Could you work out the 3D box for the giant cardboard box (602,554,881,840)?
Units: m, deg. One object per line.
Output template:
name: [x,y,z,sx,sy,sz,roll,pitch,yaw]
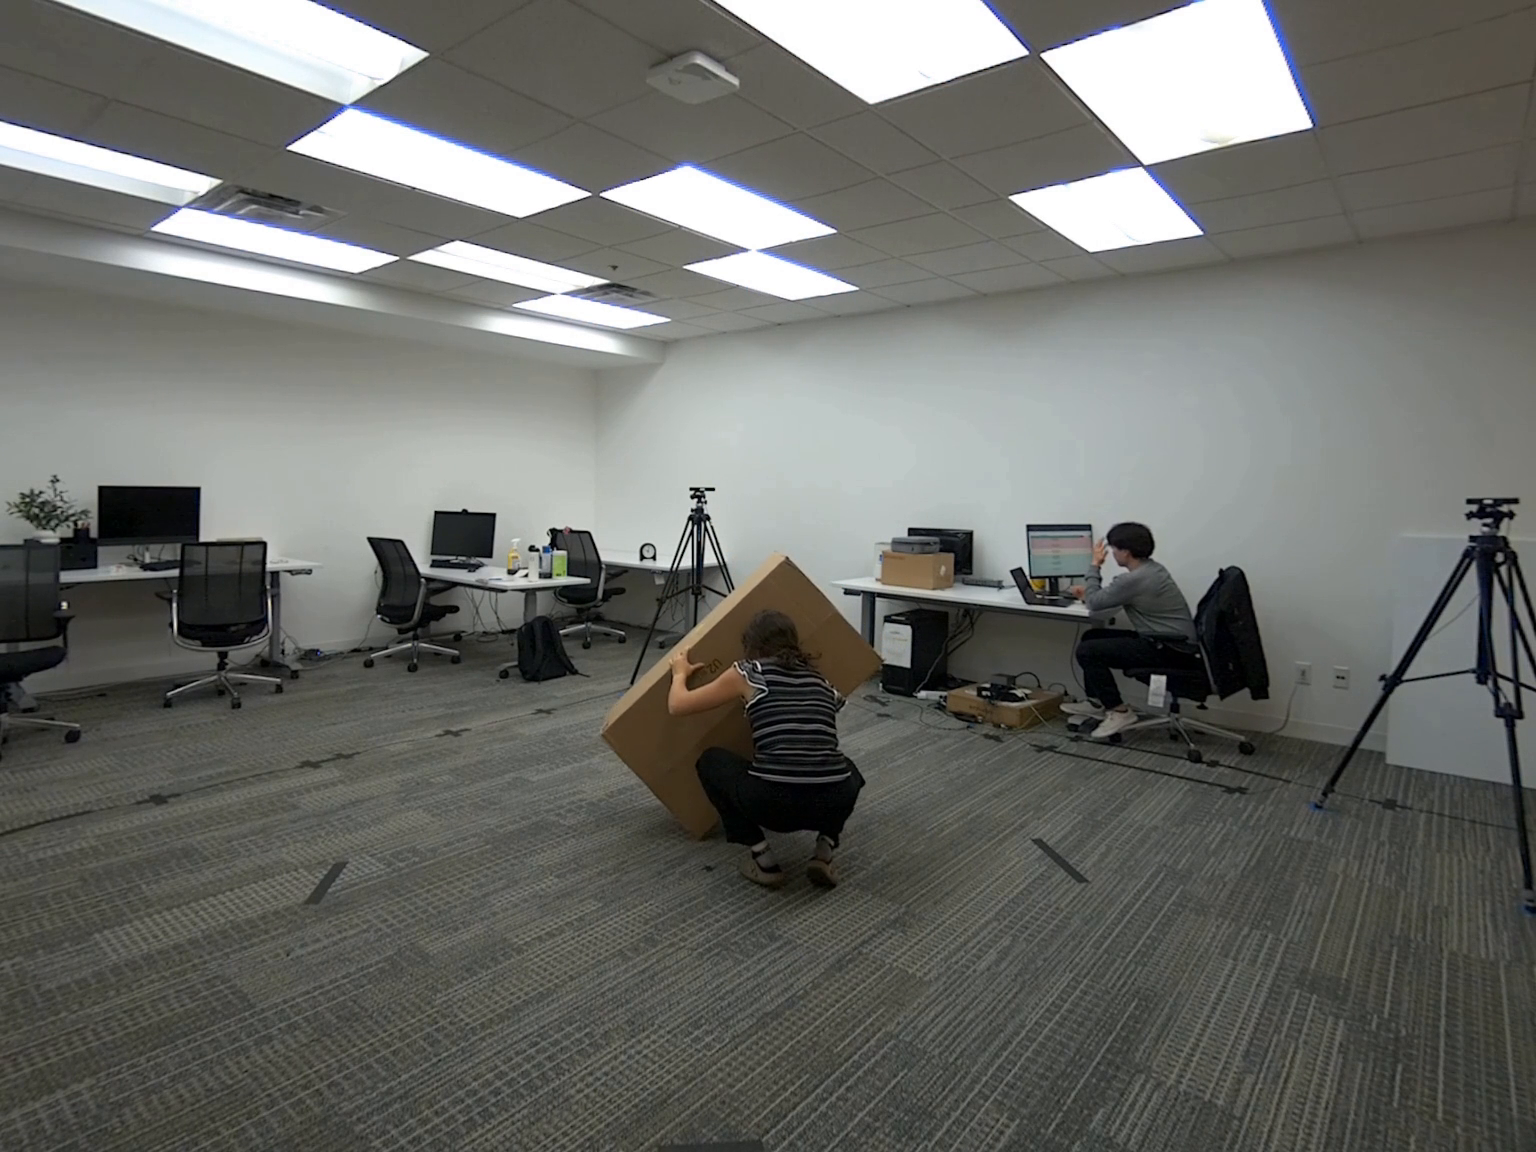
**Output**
giant cardboard box: [-0.125,0.460,3.548,1.025,0.575,0.429,-43,4,0]
